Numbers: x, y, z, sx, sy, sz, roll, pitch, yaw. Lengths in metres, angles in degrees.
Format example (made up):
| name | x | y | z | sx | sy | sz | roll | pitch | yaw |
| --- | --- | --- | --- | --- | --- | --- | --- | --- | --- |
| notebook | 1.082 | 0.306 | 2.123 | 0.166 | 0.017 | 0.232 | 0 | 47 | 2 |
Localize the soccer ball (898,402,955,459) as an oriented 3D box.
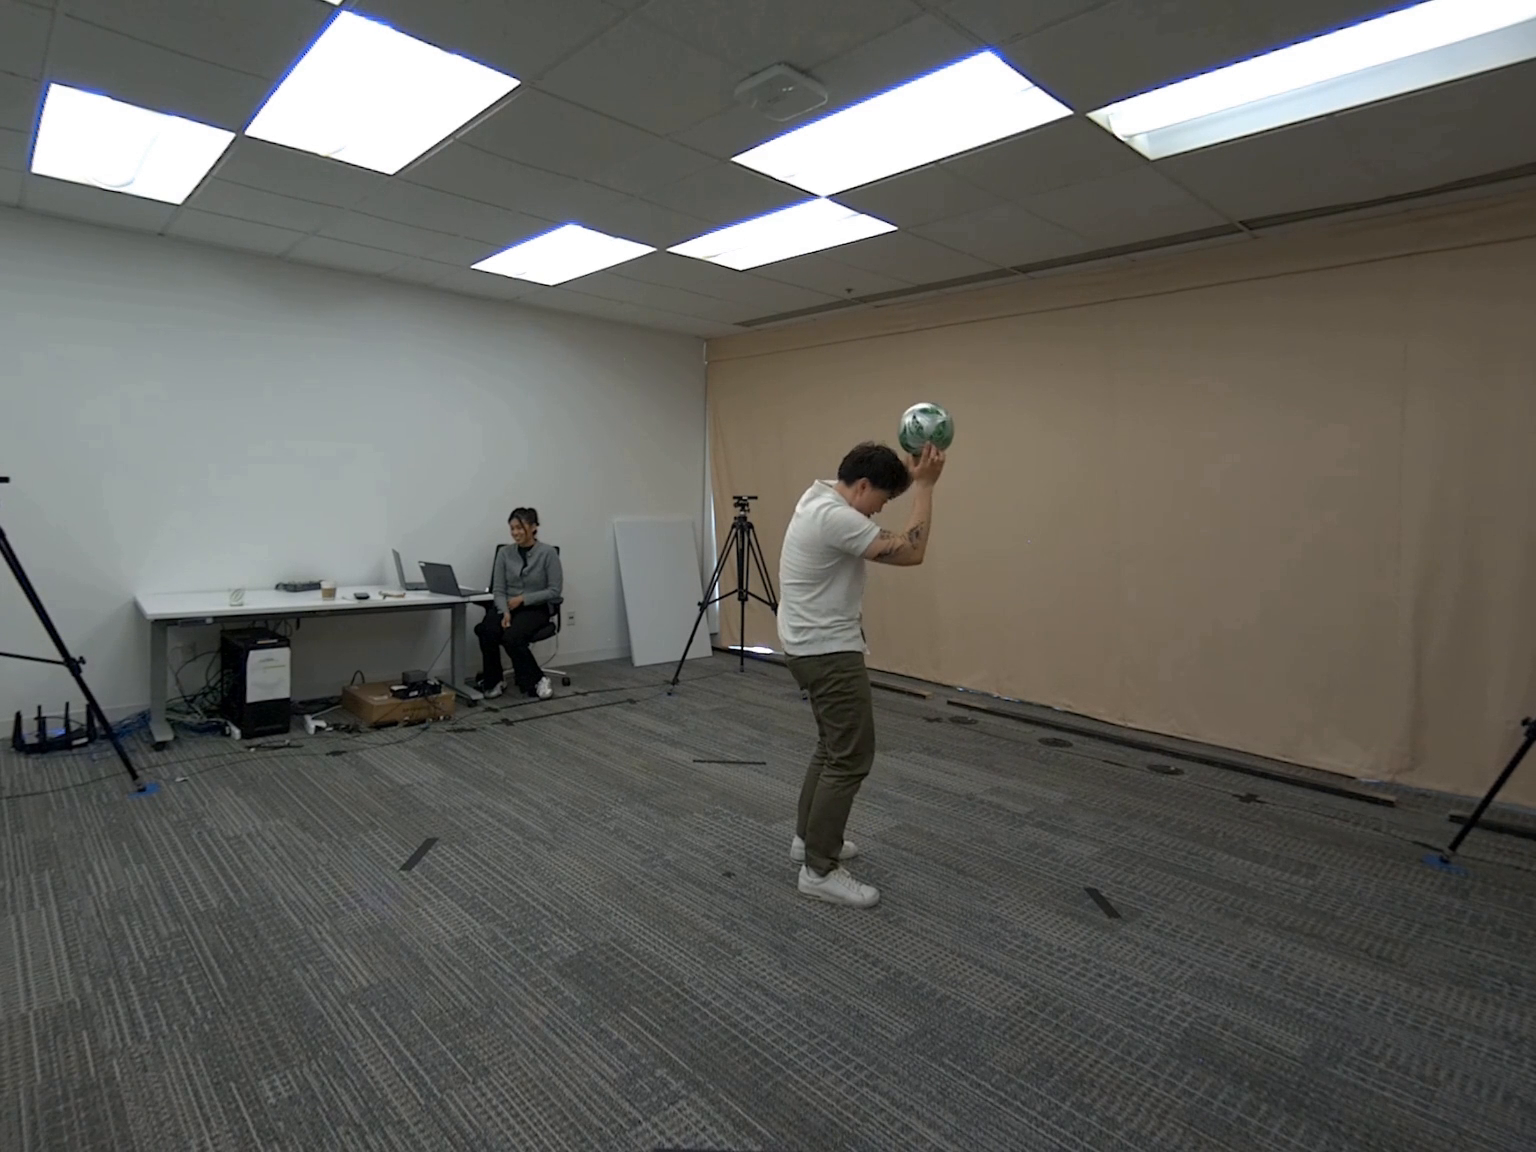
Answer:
| name | x | y | z | sx | sy | sz | roll | pitch | yaw |
| --- | --- | --- | --- | --- | --- | --- | --- | --- | --- |
| soccer ball | 0.517 | -0.488 | 2.821 | 0.187 | 0.187 | 0.188 | 1 | 4 | -1 |
